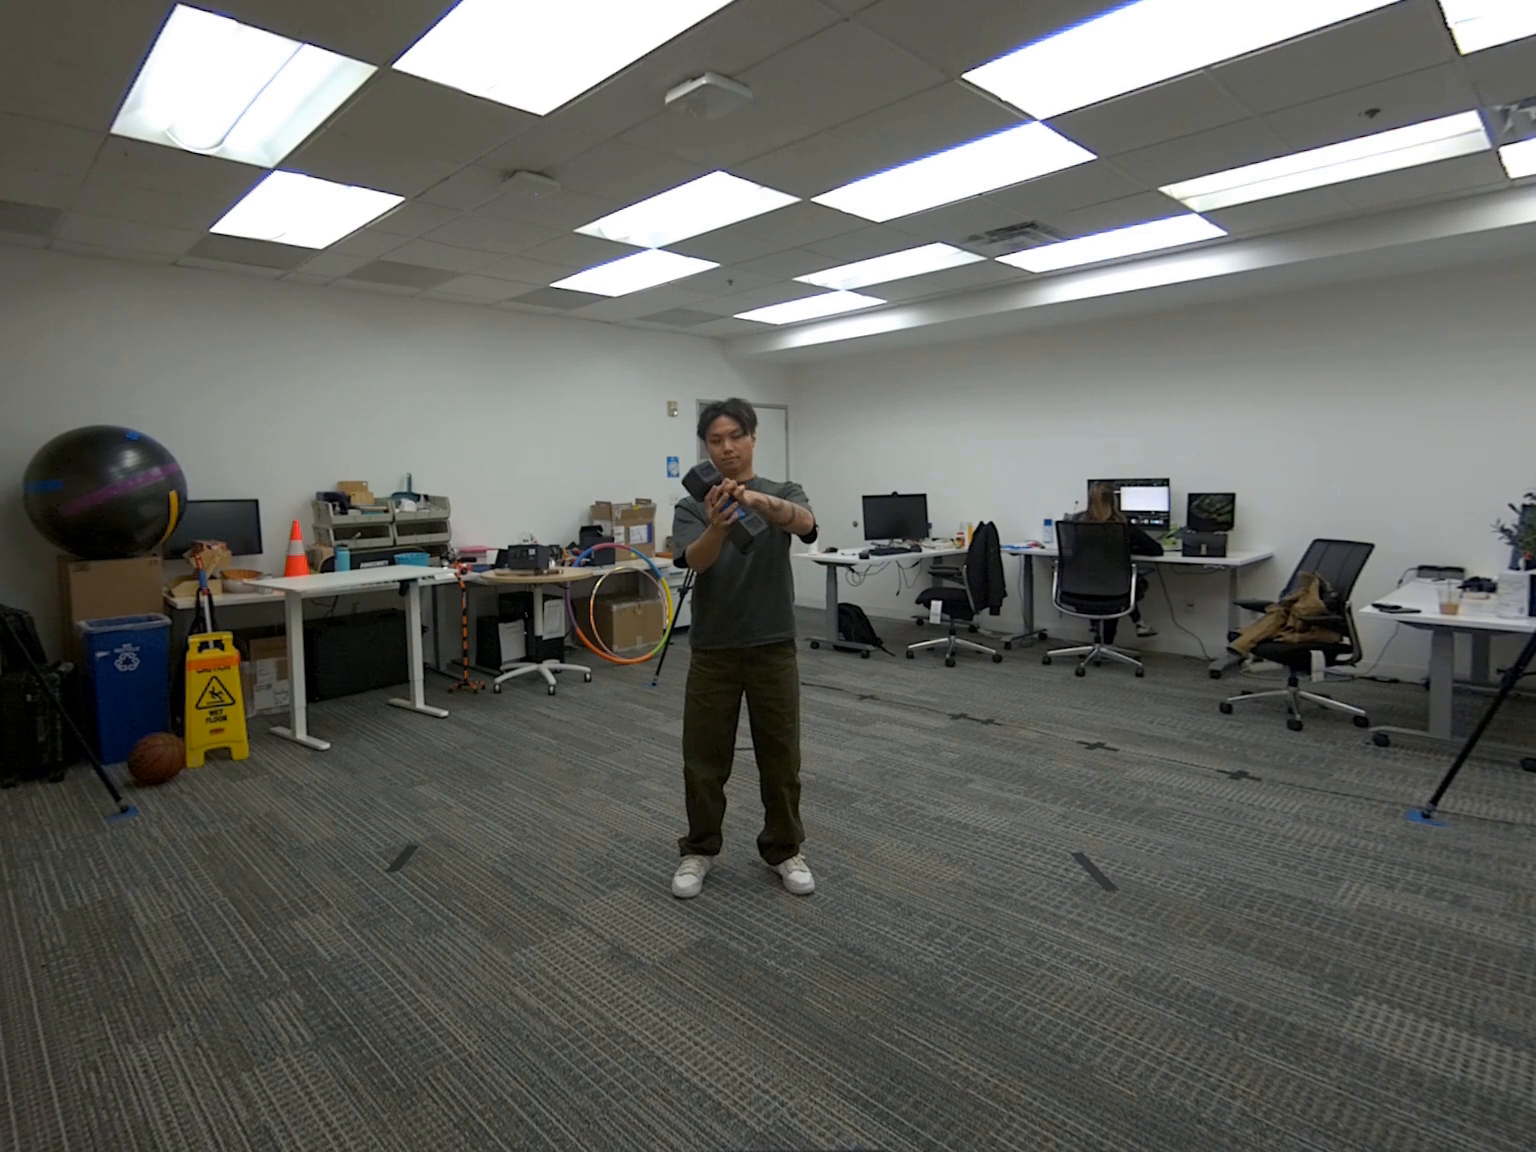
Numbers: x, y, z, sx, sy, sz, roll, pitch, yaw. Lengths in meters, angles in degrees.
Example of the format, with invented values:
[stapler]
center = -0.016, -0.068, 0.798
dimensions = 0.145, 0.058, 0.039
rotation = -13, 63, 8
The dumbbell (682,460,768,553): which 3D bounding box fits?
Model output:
[dumbbell]
center = -0.123, -0.198, 2.507
dimensions = 0.123, 0.299, 0.106
rotation = -47, -16, 24
